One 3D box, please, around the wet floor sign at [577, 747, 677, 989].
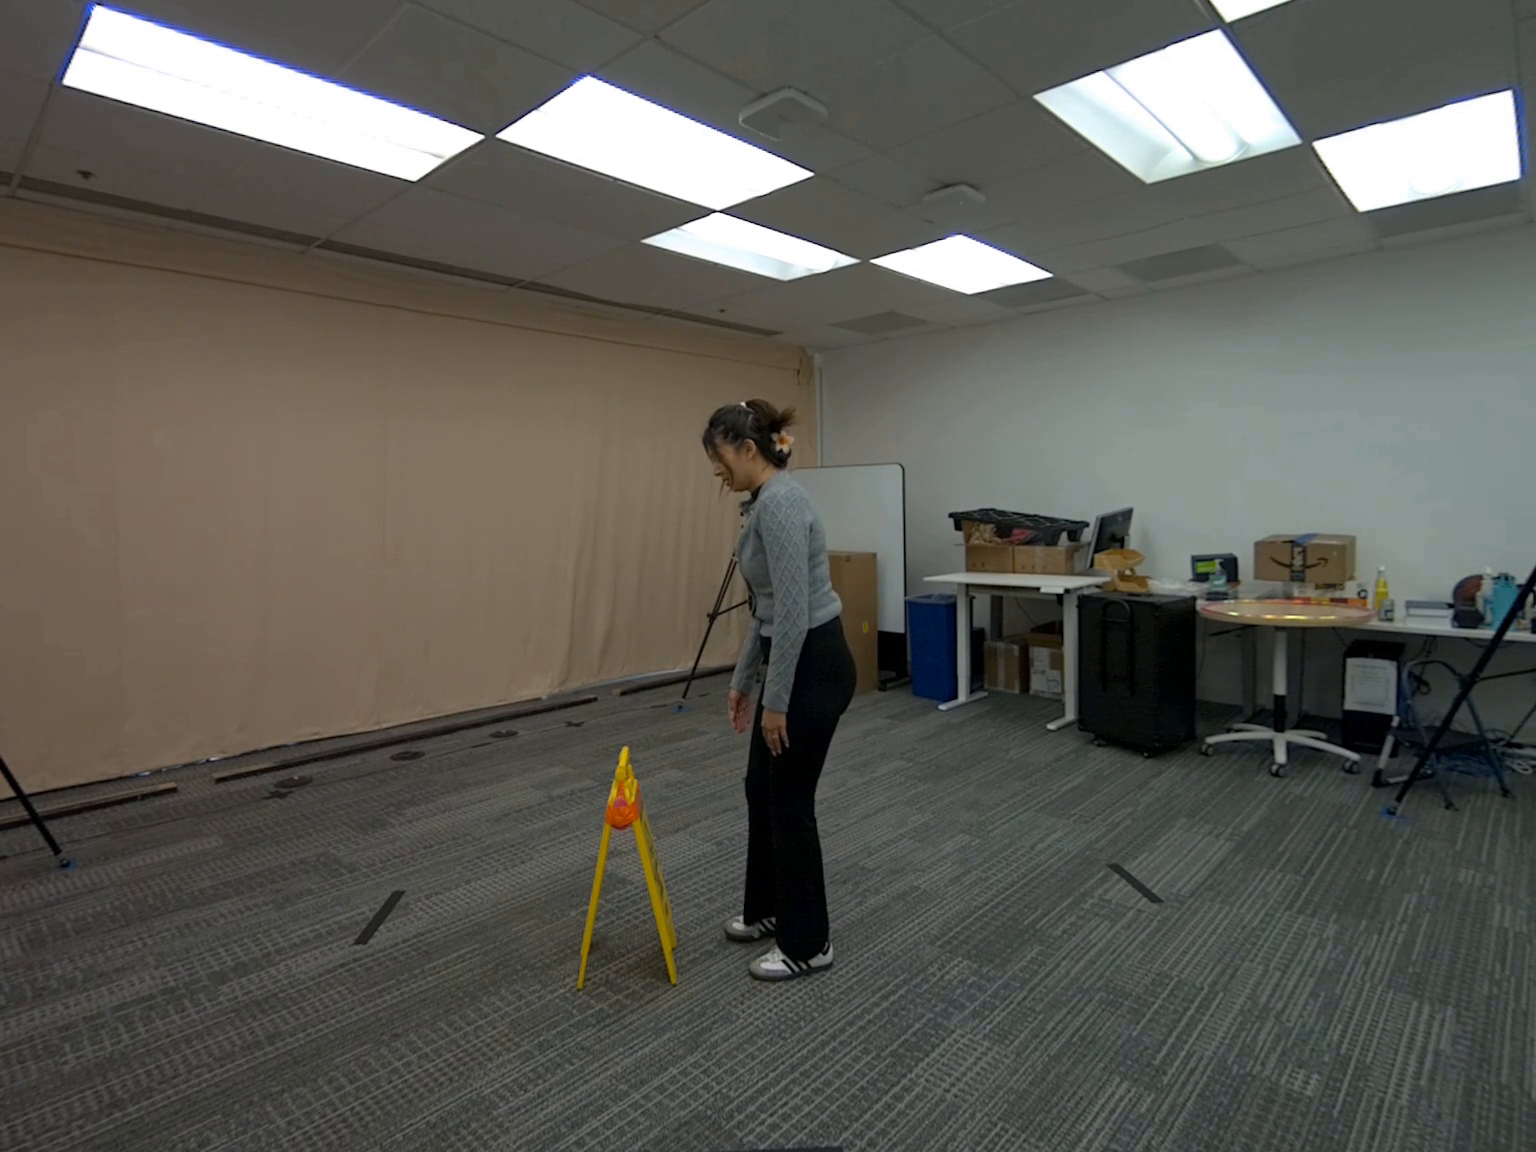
[{"bbox_3d":[-0.431,0.860,2.566,0.288,0.646,0.283,-2,1,-5],"label":"wet floor sign"}]
